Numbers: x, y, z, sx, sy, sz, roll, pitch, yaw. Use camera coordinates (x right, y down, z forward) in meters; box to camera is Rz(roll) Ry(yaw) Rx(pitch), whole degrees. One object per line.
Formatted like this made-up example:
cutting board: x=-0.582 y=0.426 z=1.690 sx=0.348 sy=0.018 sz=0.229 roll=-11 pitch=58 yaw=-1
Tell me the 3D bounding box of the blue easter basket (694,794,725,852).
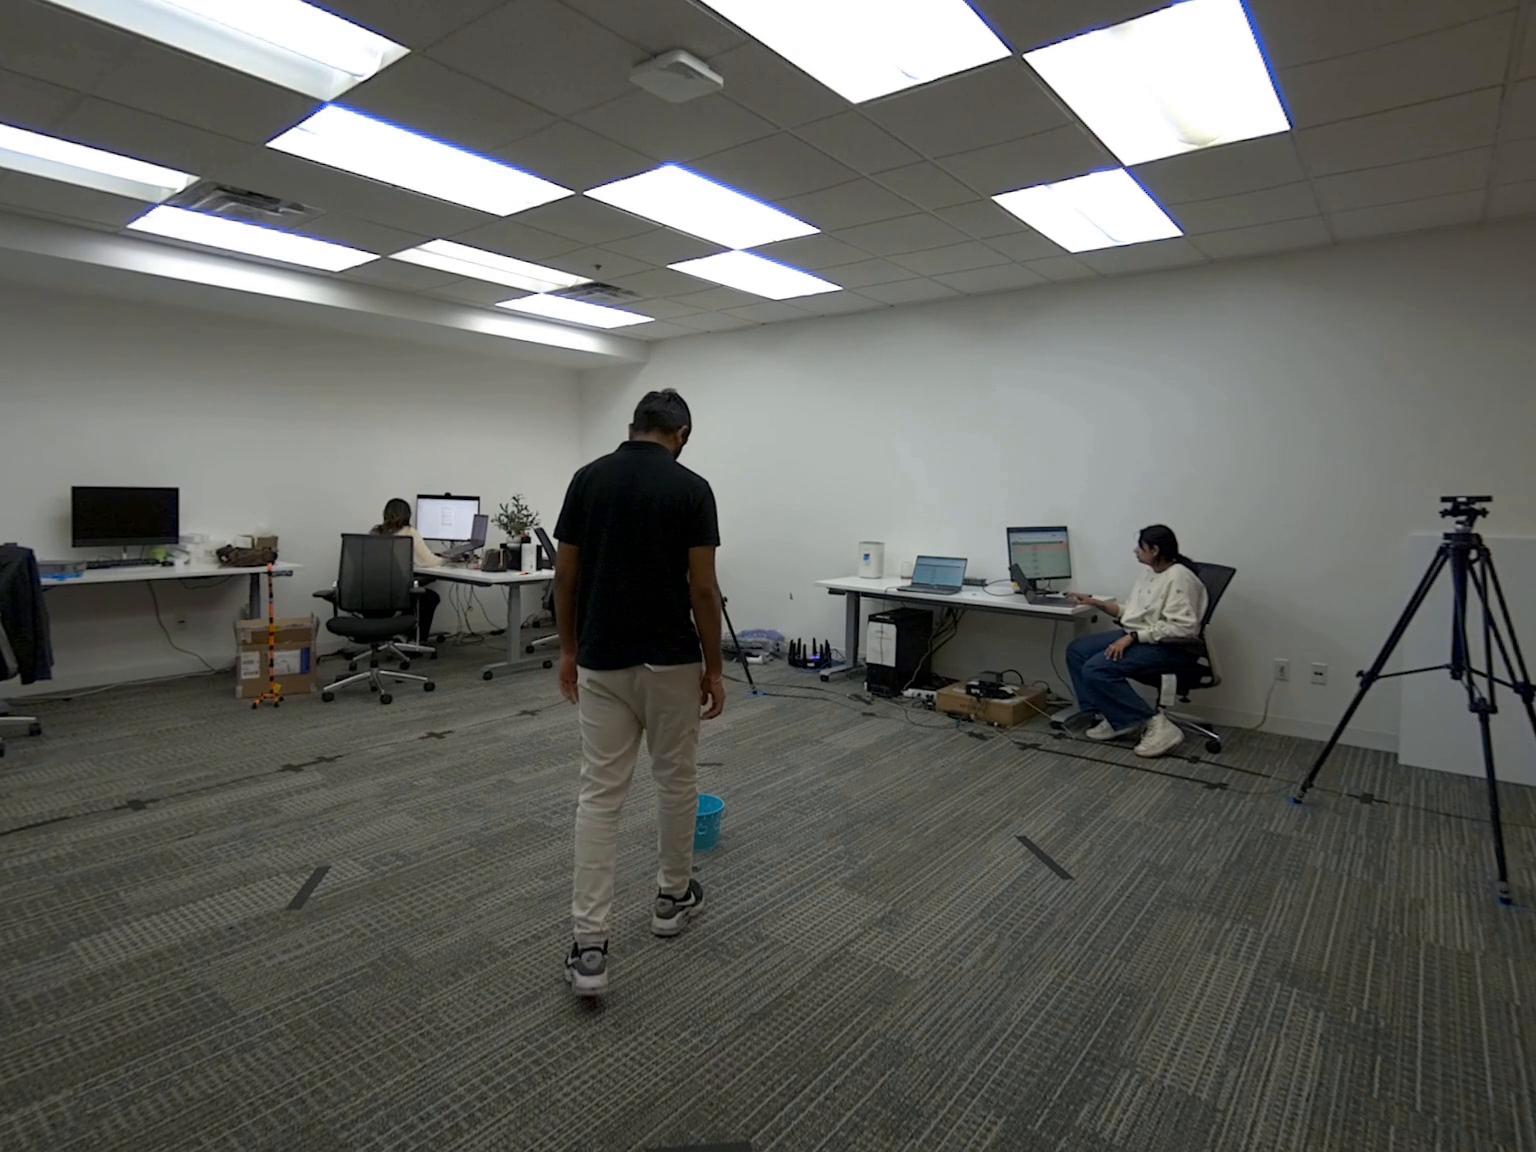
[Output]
blue easter basket: x=-0.290 y=0.965 z=3.348 sx=0.243 sy=0.155 sz=0.245 roll=0 pitch=5 yaw=-2
